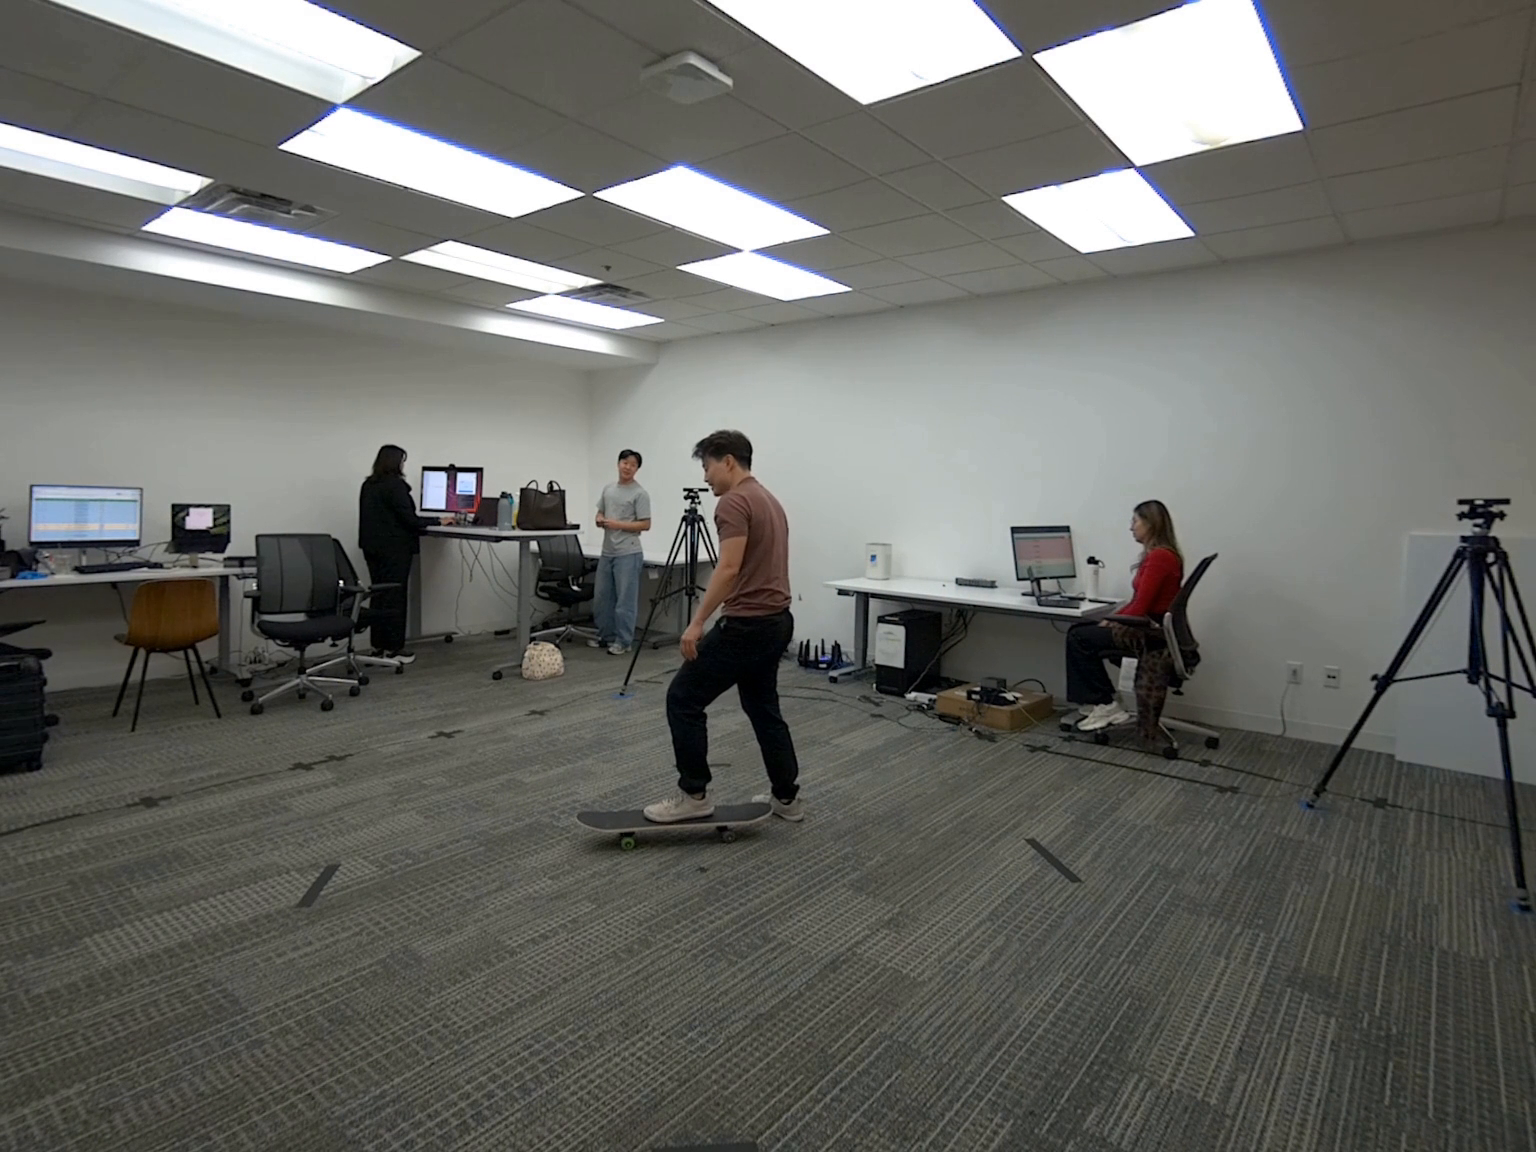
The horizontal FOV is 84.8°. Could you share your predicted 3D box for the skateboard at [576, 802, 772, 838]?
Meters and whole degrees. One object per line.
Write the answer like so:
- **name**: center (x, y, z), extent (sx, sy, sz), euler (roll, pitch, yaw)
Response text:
- **skateboard**: center (-0.376, 0.983, 3.383), extent (0.776, 0.110, 0.196), euler (-1, 5, -11)
